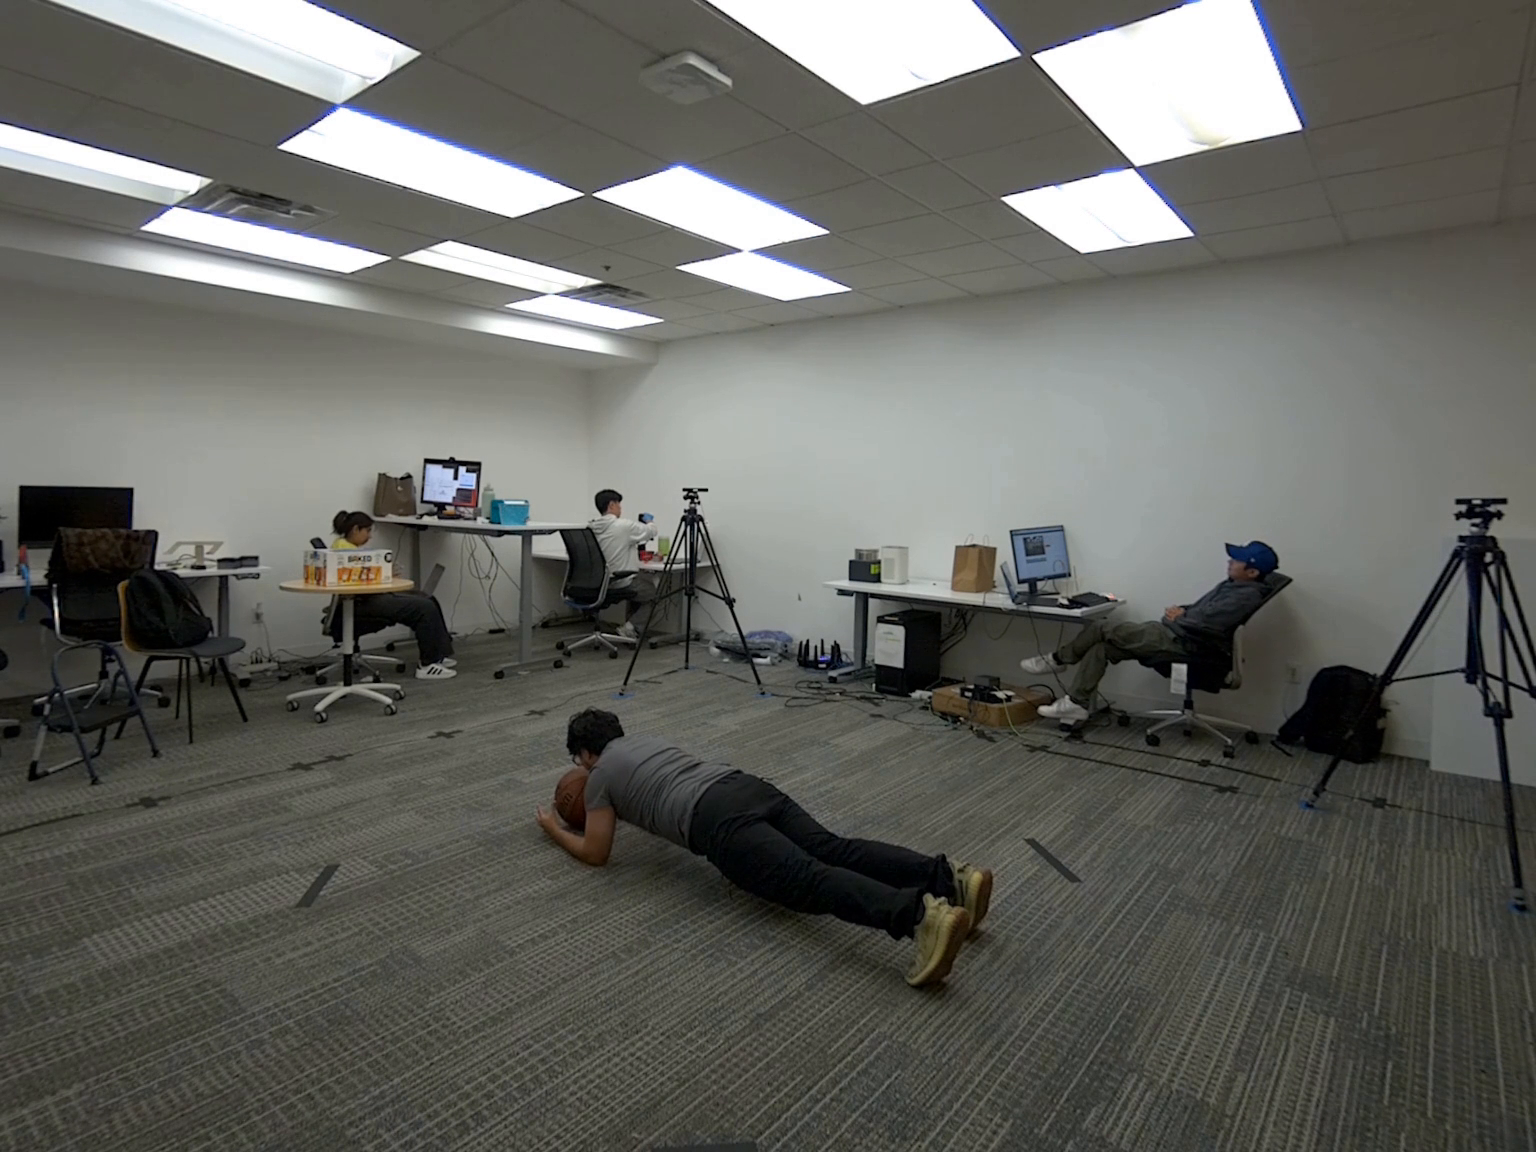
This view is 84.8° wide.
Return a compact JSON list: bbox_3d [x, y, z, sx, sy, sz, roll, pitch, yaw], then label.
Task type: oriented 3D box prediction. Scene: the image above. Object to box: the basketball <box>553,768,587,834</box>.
[{"bbox_3d":[-0.769,0.905,3.483,0.235,0.235,0.237,1,4,-2],"label":"basketball"}]
